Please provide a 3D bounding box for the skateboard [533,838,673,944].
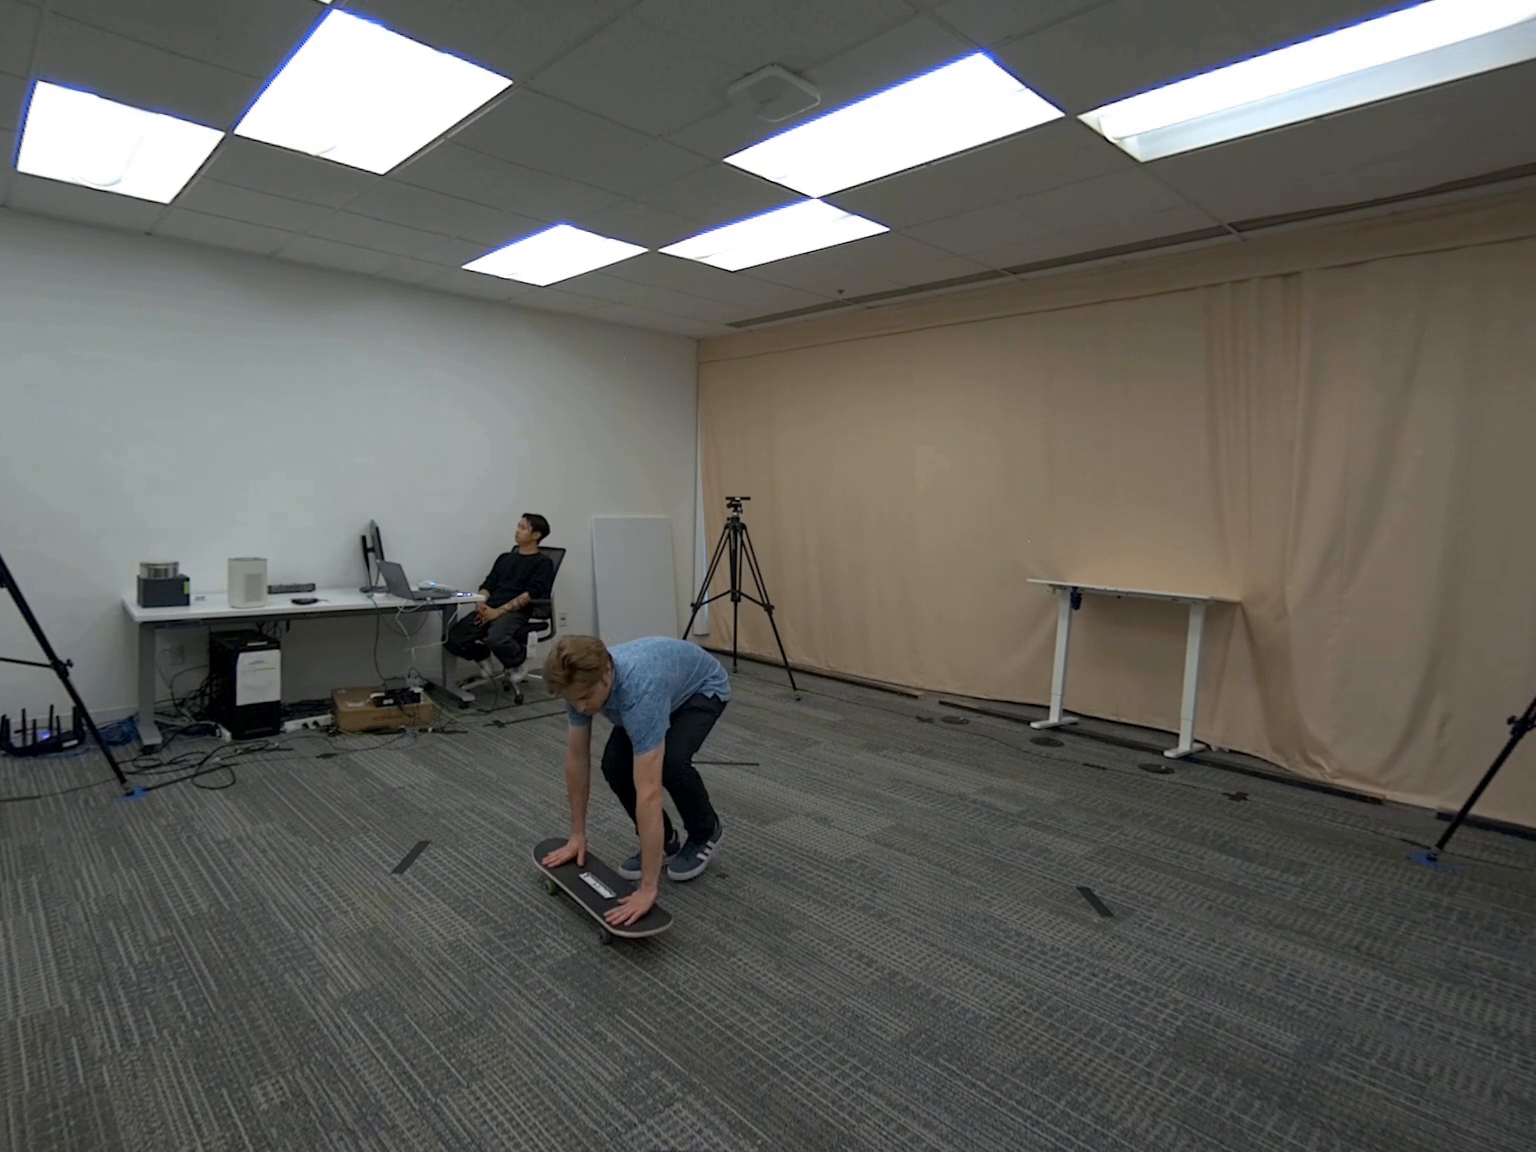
[{"bbox_3d":[-0.581,1.072,2.818,0.189,0.110,0.805,-7,10,-36],"label":"skateboard"}]
